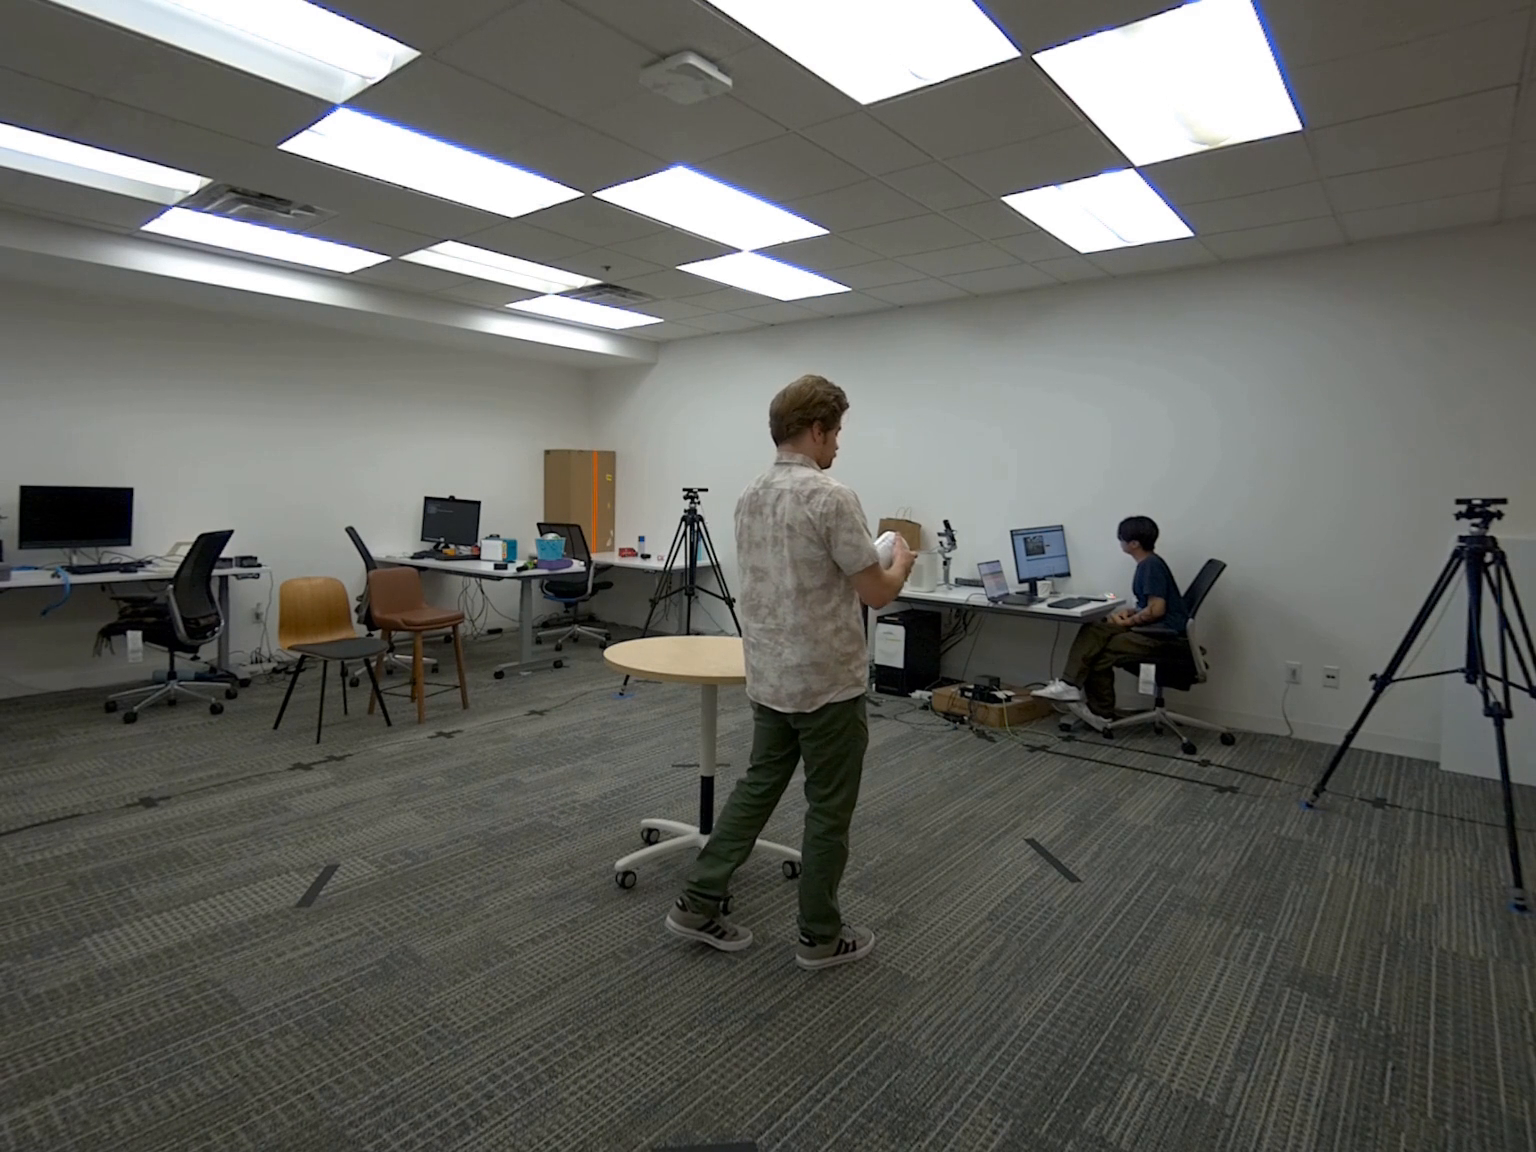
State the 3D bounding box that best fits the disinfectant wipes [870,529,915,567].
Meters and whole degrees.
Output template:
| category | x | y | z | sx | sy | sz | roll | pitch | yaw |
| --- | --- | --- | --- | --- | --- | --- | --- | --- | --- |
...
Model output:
| category | x | y | z | sx | sy | sz | roll | pitch | yaw |
| --- | --- | --- | --- | --- | --- | --- | --- | --- | --- |
| disinfectant wipes | 0.325 | -0.037 | 2.640 | 0.216 | 0.115 | 0.121 | -38 | 22 | -23 |
